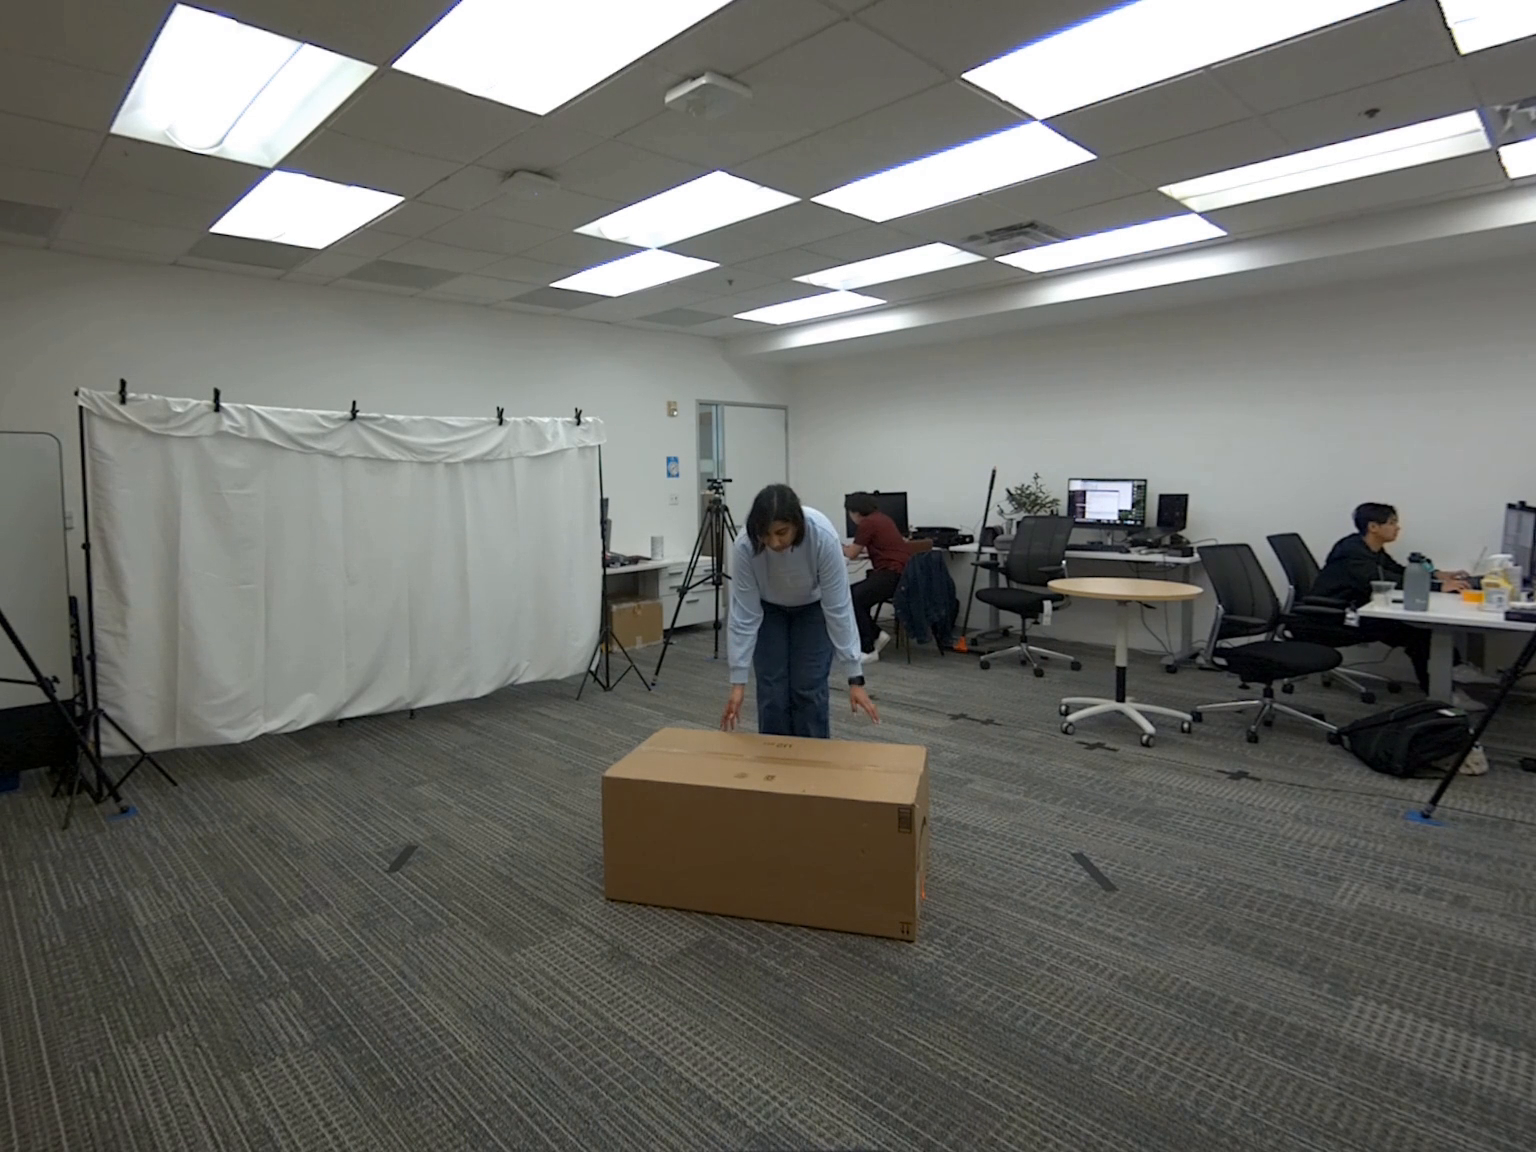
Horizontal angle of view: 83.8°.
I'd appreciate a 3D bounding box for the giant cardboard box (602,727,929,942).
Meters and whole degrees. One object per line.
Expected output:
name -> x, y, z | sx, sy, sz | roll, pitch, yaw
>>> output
giant cardboard box -> 0.012, 0.842, 2.967 | 1.043, 0.424, 0.571 | 1, 6, 16
